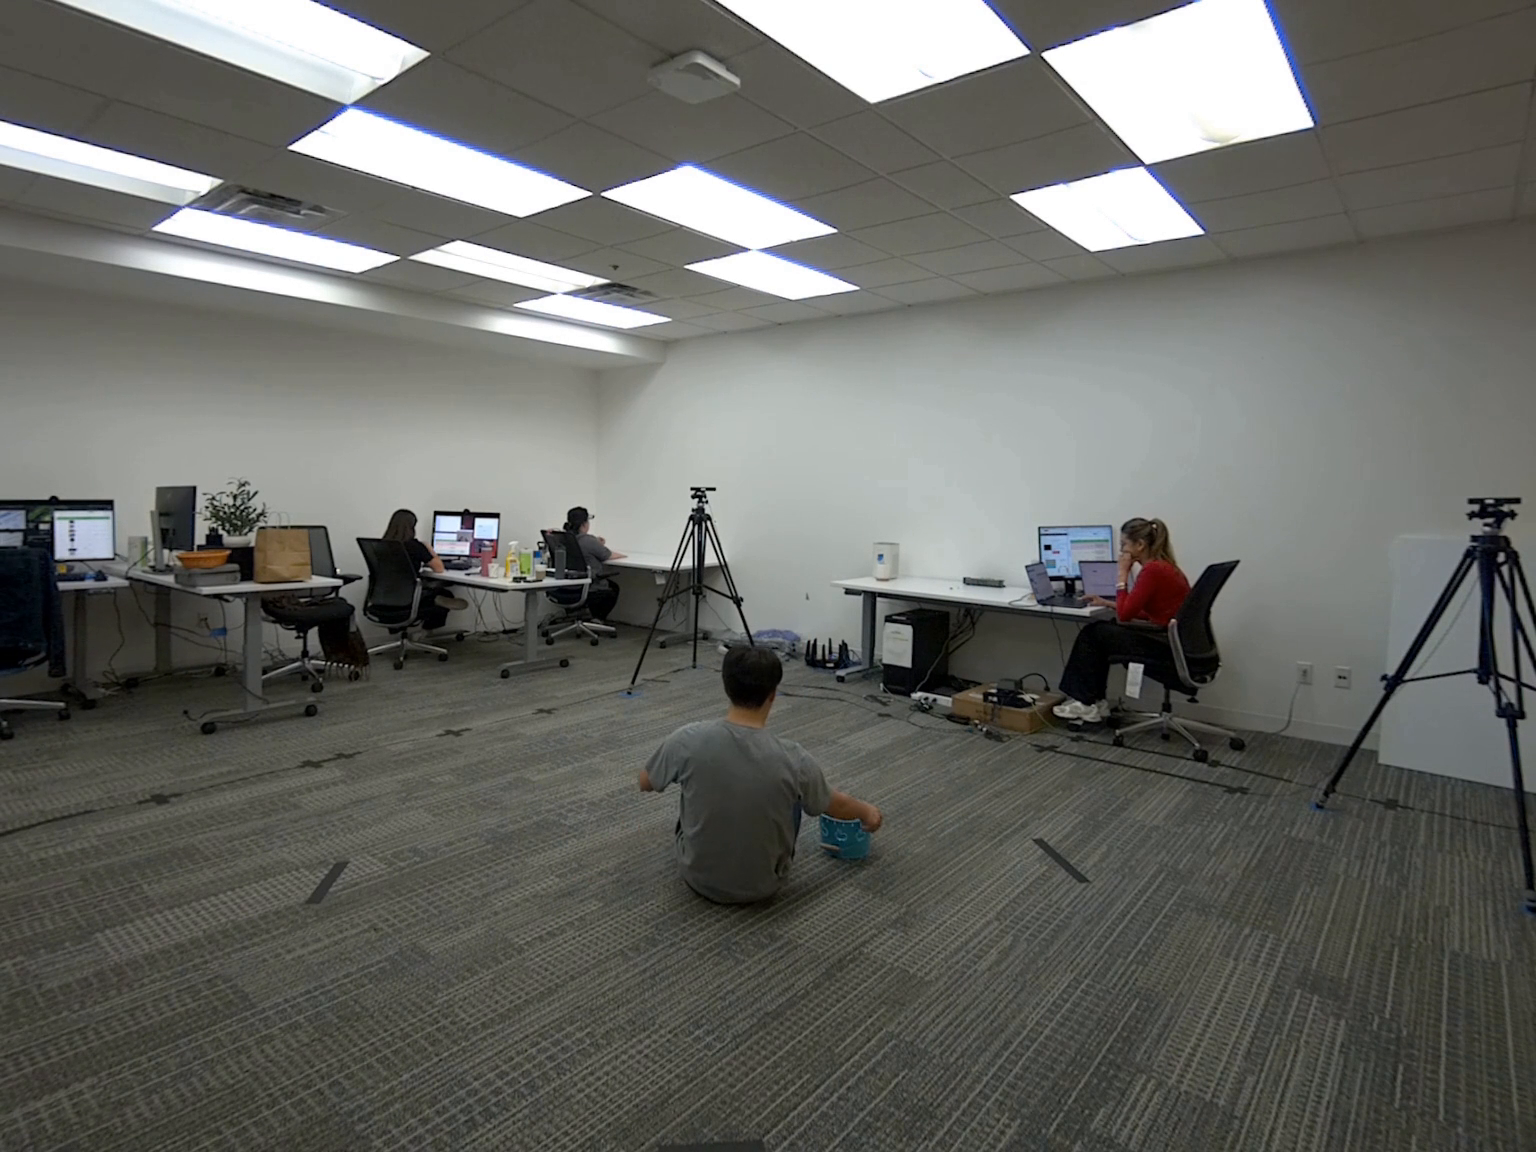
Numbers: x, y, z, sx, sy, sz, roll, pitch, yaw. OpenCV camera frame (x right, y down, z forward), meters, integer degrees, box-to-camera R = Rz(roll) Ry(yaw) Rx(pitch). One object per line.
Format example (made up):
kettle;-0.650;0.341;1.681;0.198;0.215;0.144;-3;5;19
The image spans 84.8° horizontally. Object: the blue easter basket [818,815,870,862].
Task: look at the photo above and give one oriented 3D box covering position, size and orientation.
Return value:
blue easter basket;0.292;0.985;3.305;0.243;0.155;0.244;2;3;-2
